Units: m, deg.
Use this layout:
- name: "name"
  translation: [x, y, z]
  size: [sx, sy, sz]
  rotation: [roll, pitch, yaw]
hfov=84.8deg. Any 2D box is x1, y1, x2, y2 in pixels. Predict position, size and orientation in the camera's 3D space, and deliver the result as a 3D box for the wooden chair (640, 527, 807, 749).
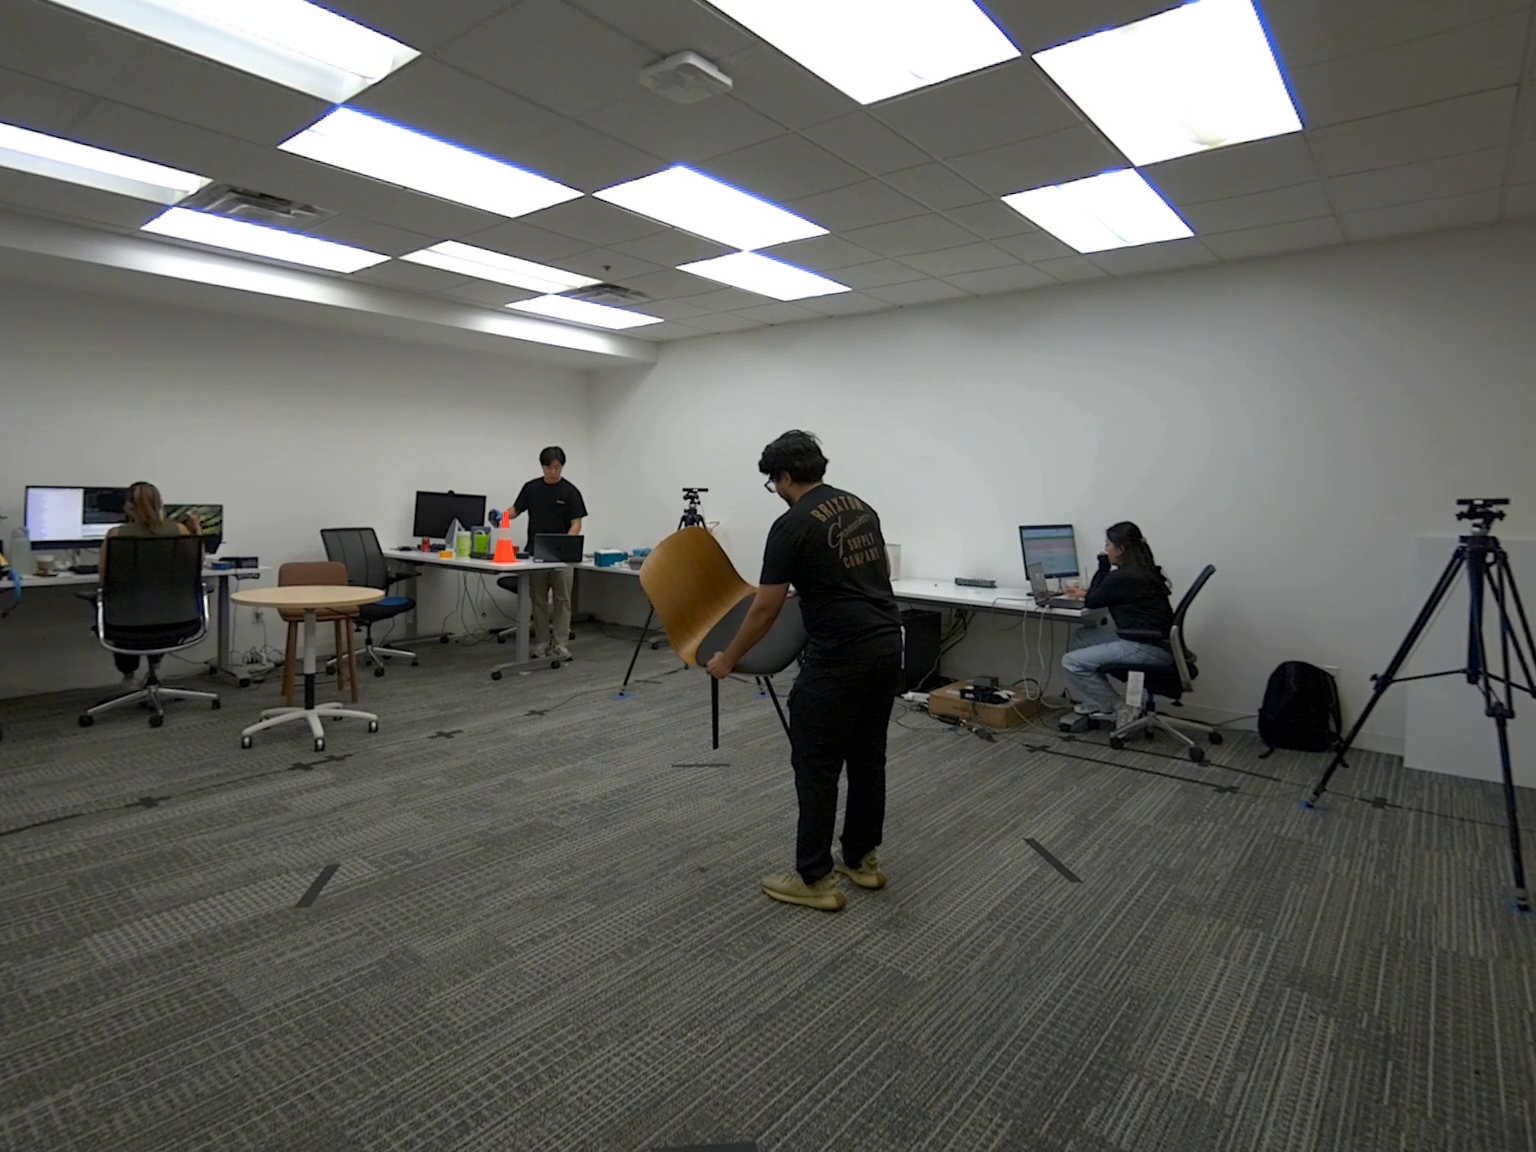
- name: "wooden chair"
  translation: [-0.075, 0.238, 3.233]
  size: [0.540, 0.853, 0.477]
  rotation: [-1, 33, 43]
